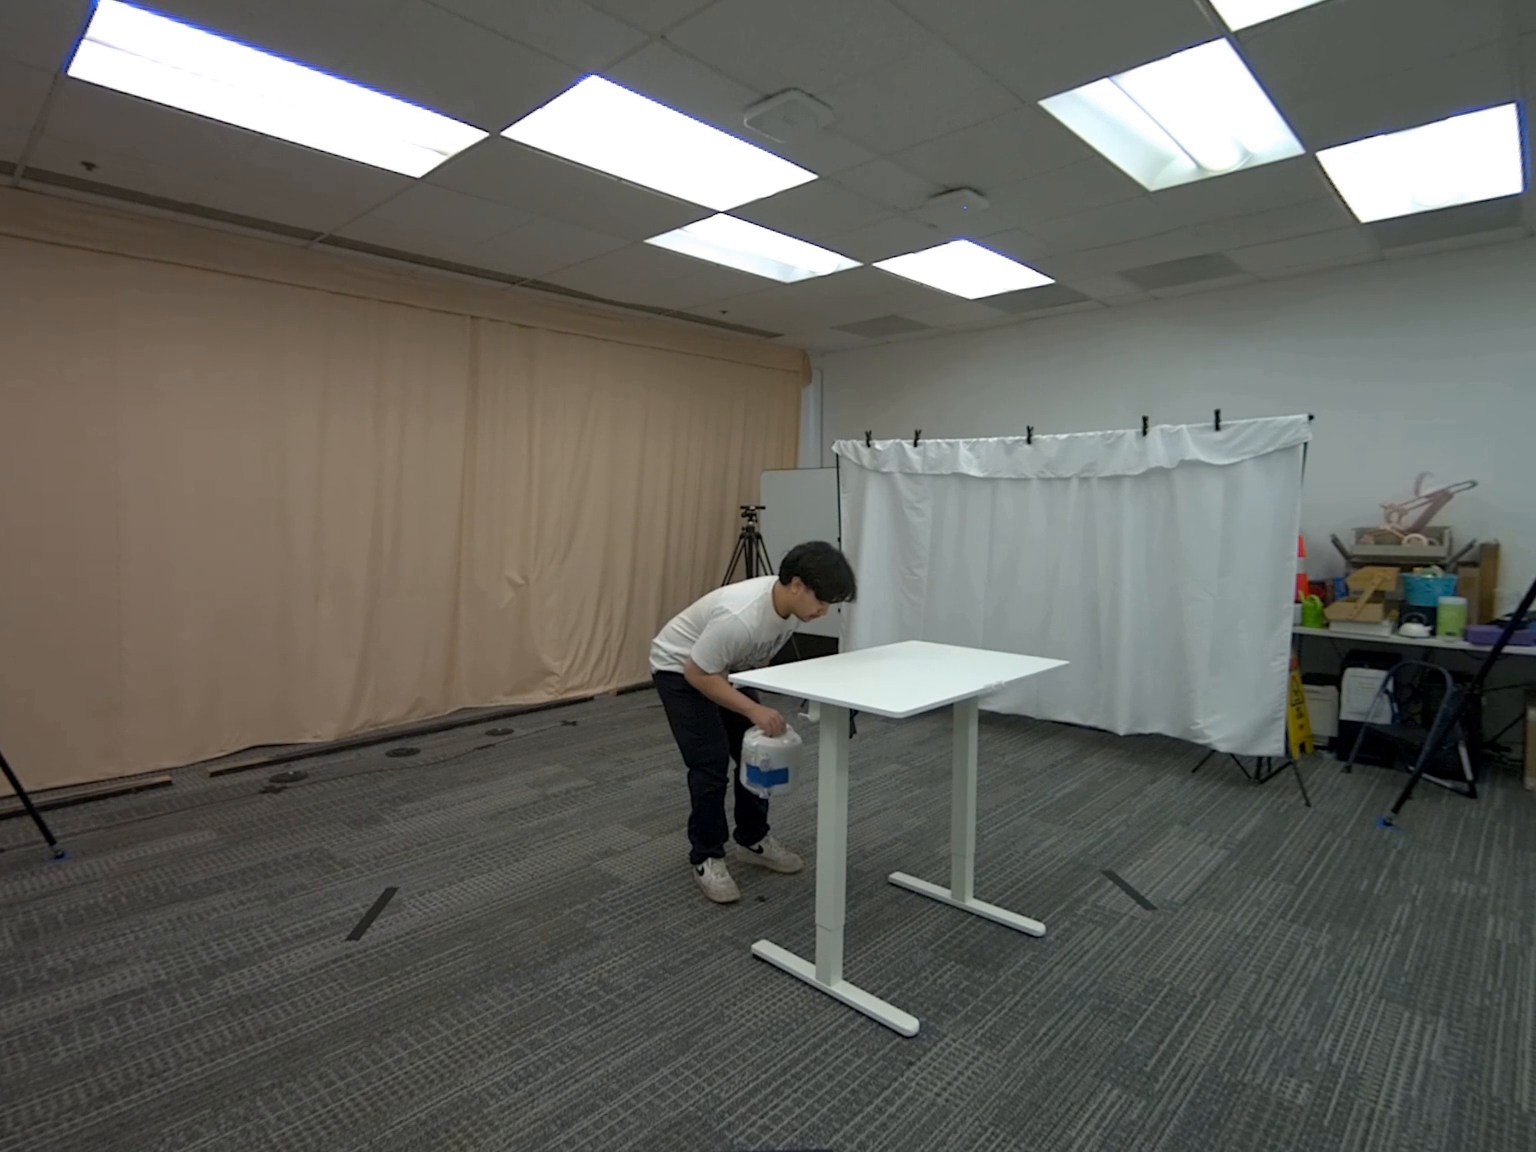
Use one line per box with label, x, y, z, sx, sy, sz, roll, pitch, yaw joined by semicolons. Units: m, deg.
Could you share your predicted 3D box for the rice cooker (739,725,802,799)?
rice cooker;0.019;0.638;2.949;0.214;0.232;0.225;0;9;-37
